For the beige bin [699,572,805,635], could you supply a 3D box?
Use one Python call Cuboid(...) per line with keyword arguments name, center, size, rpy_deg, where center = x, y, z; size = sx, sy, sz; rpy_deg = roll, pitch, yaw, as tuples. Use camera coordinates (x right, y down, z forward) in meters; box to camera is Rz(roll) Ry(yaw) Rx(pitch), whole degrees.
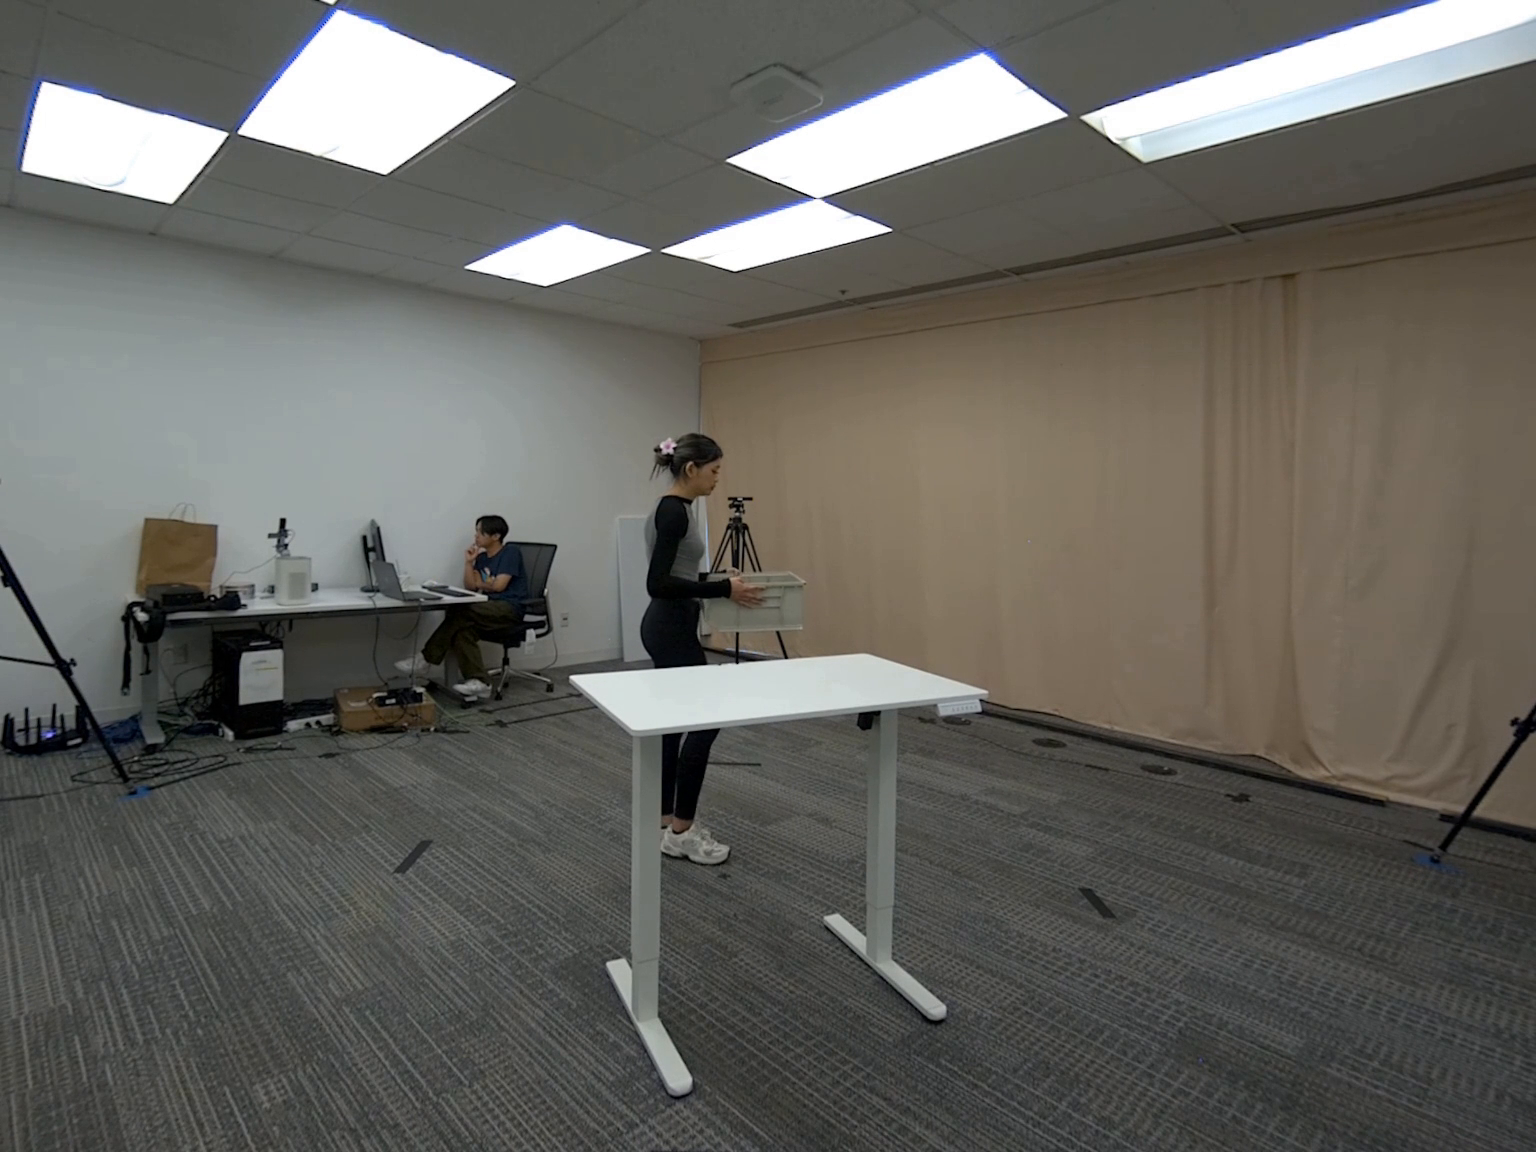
Cuboid(name="beige bin", center=(-0.076, 0.097, 3.295), size=(0.376, 0.188, 0.425), rpy_deg=(0, 4, -6))
